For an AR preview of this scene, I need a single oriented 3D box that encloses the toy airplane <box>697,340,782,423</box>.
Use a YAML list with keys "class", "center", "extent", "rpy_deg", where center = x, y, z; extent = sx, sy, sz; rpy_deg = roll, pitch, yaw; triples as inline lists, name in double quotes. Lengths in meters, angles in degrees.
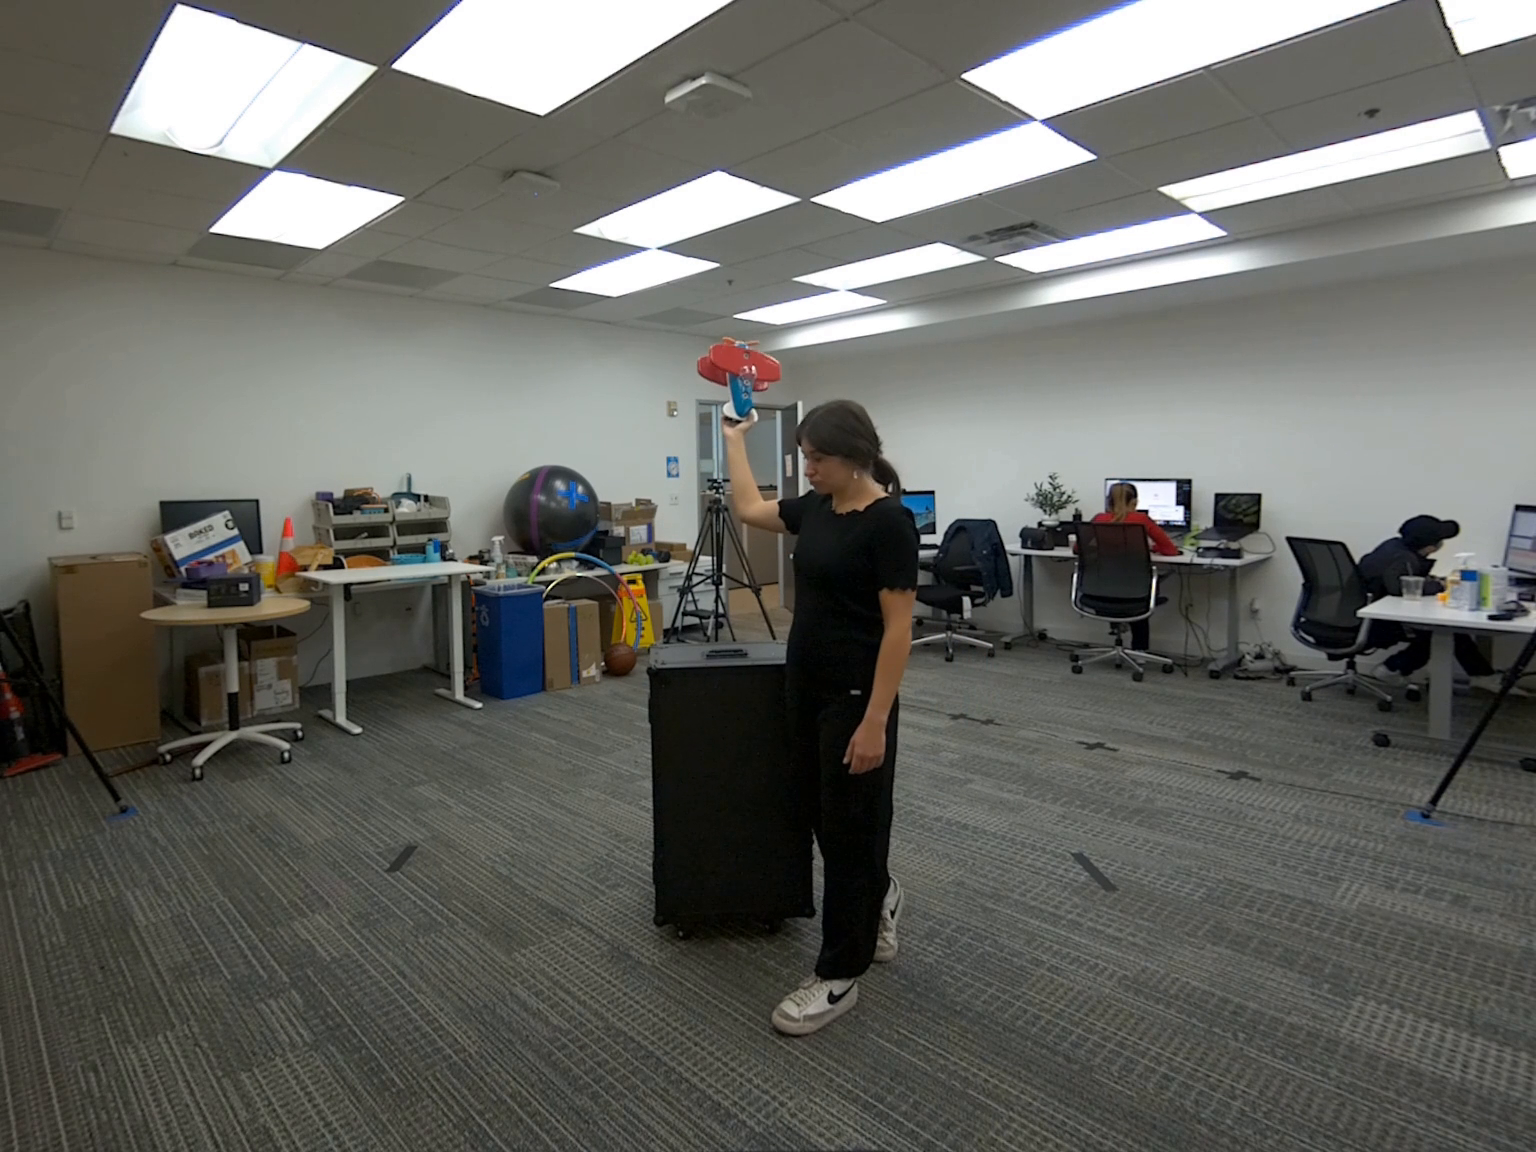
- class: "toy airplane"
  center: [-0.077, -0.600, 2.665]
  extent: [0.247, 0.263, 0.156]
  rpy_deg: [-24, -15, -40]
